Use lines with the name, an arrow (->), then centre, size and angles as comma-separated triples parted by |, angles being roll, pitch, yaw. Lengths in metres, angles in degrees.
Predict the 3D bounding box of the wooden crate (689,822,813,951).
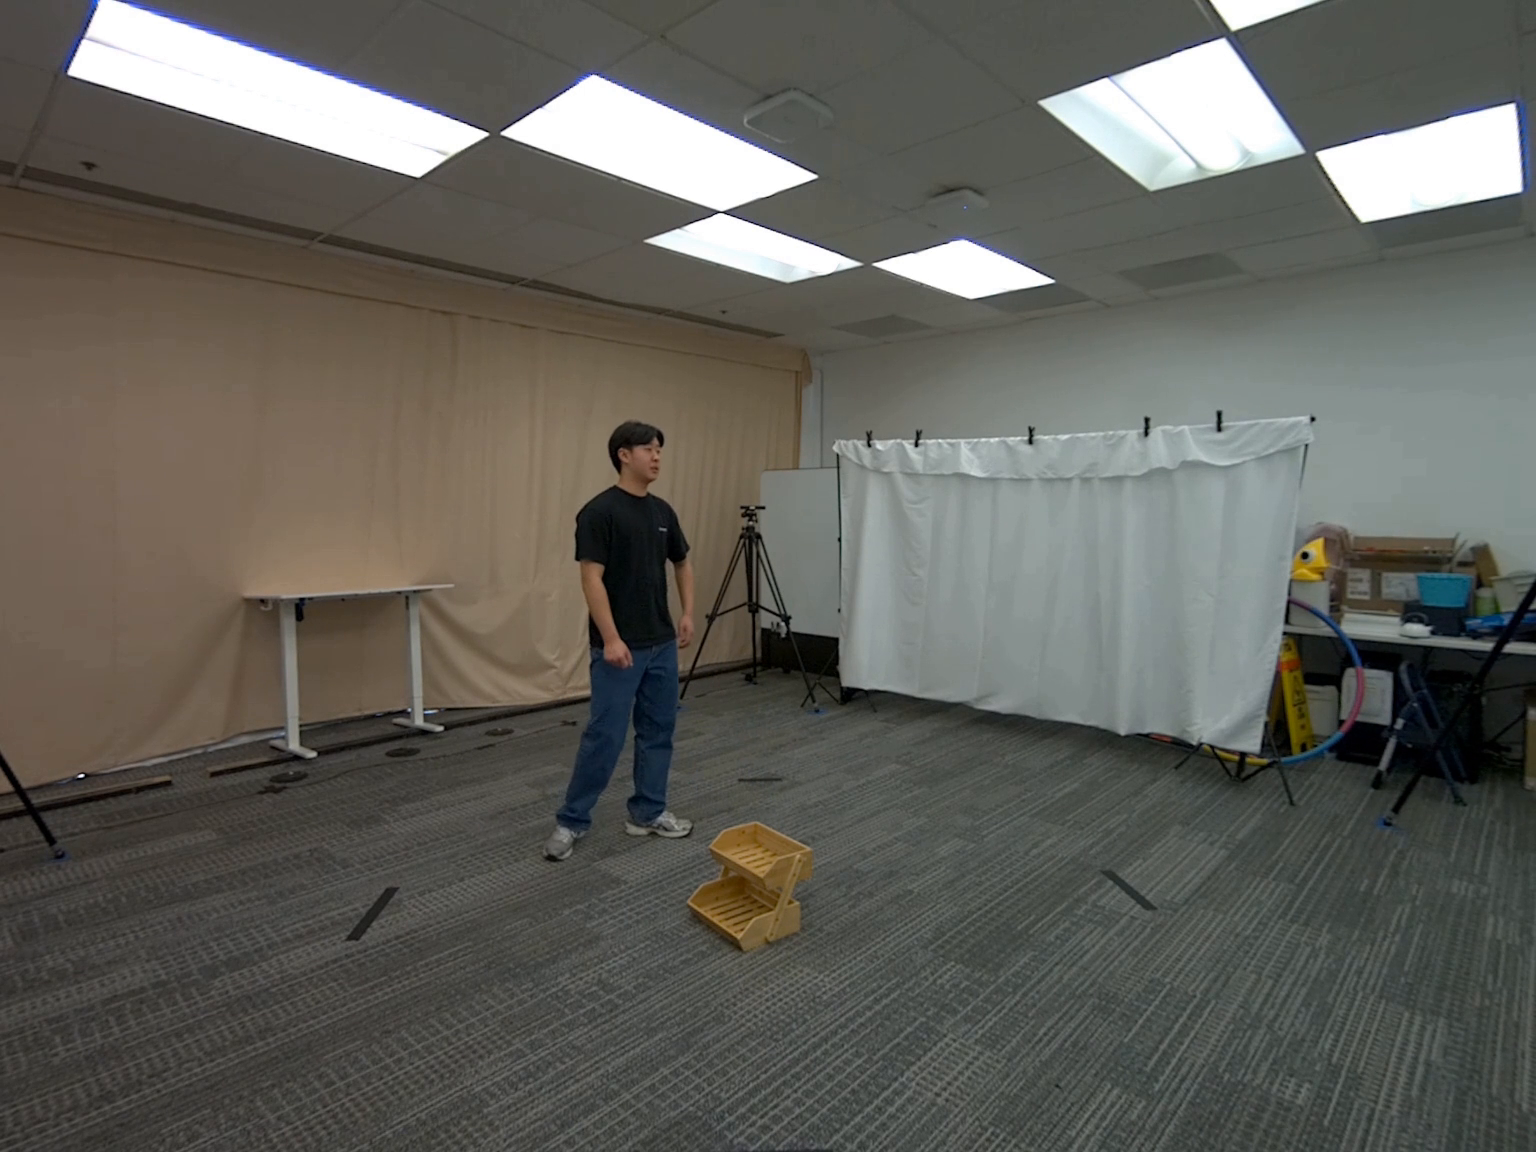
wooden crate -> -0.063, 1.023, 2.817 | 0.293, 0.273, 0.335 | -2, 4, -37
